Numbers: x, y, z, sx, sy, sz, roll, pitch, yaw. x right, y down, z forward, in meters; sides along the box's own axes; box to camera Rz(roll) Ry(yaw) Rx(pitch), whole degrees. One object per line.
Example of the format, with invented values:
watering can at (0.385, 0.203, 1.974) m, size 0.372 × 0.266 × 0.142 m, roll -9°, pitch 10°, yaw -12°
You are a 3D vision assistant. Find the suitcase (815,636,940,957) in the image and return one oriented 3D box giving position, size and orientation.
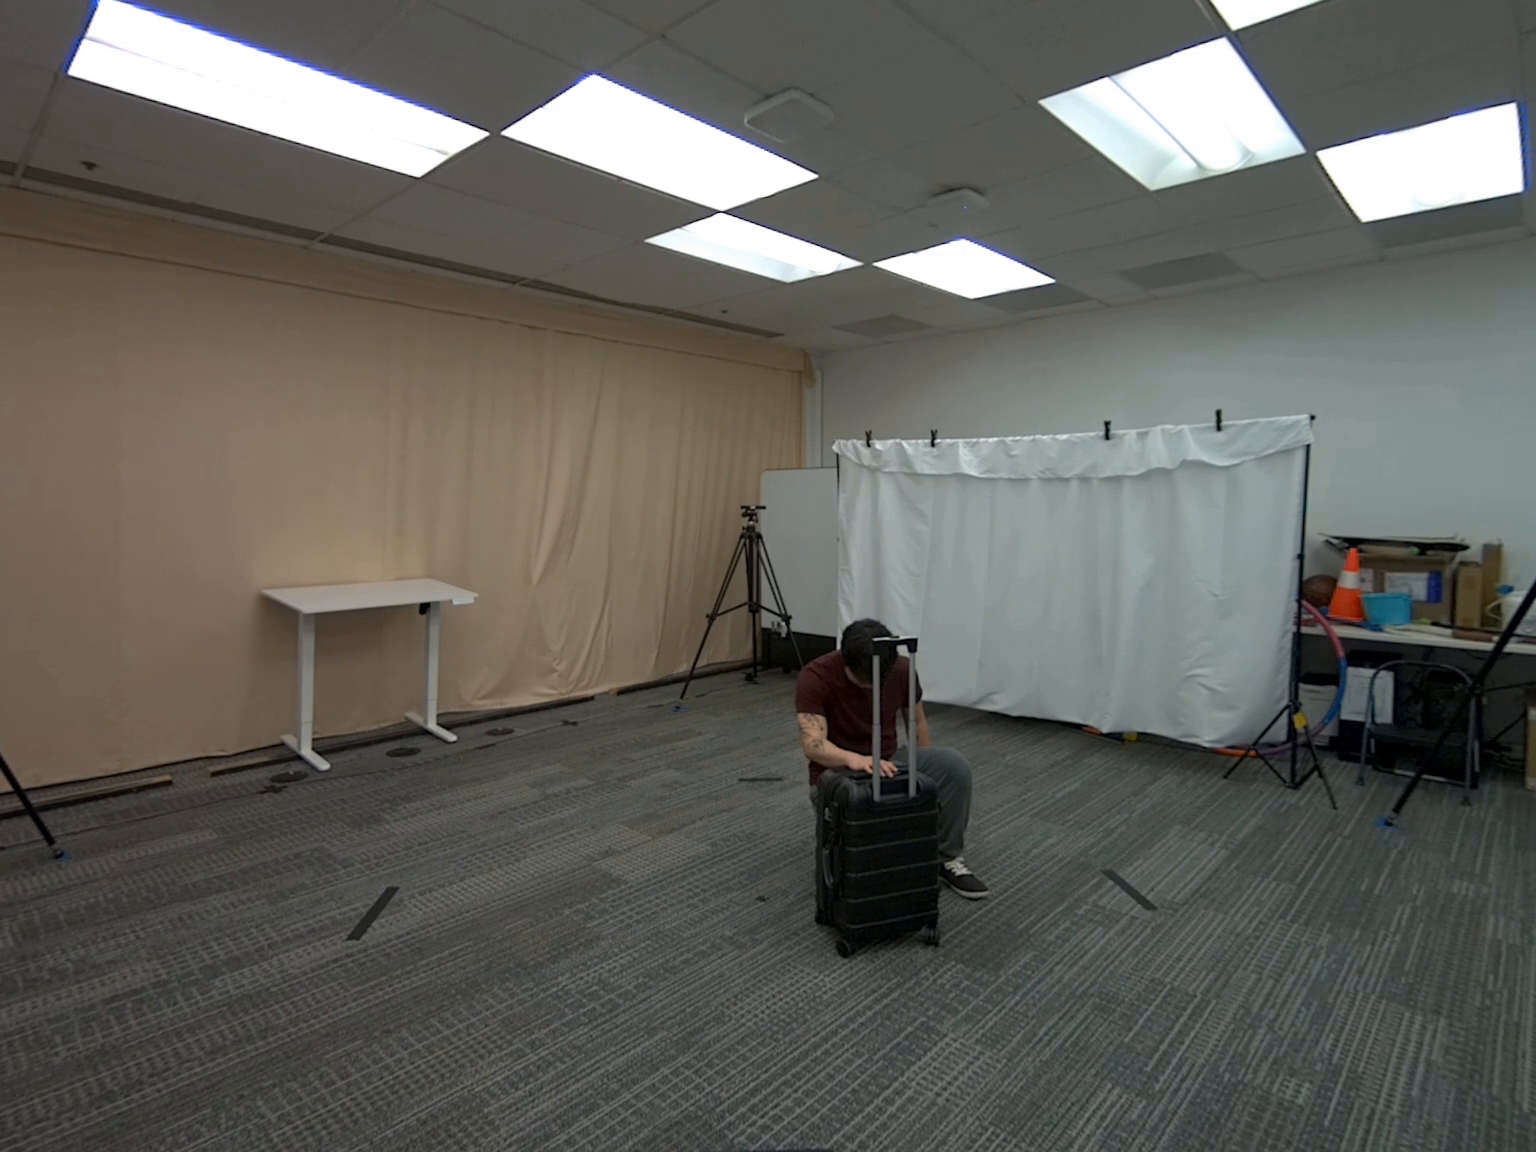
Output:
suitcase at (0.350, 0.682, 2.718) m, size 0.377 × 0.977 × 0.262 m, roll 0°, pitch 2°, yaw -17°
